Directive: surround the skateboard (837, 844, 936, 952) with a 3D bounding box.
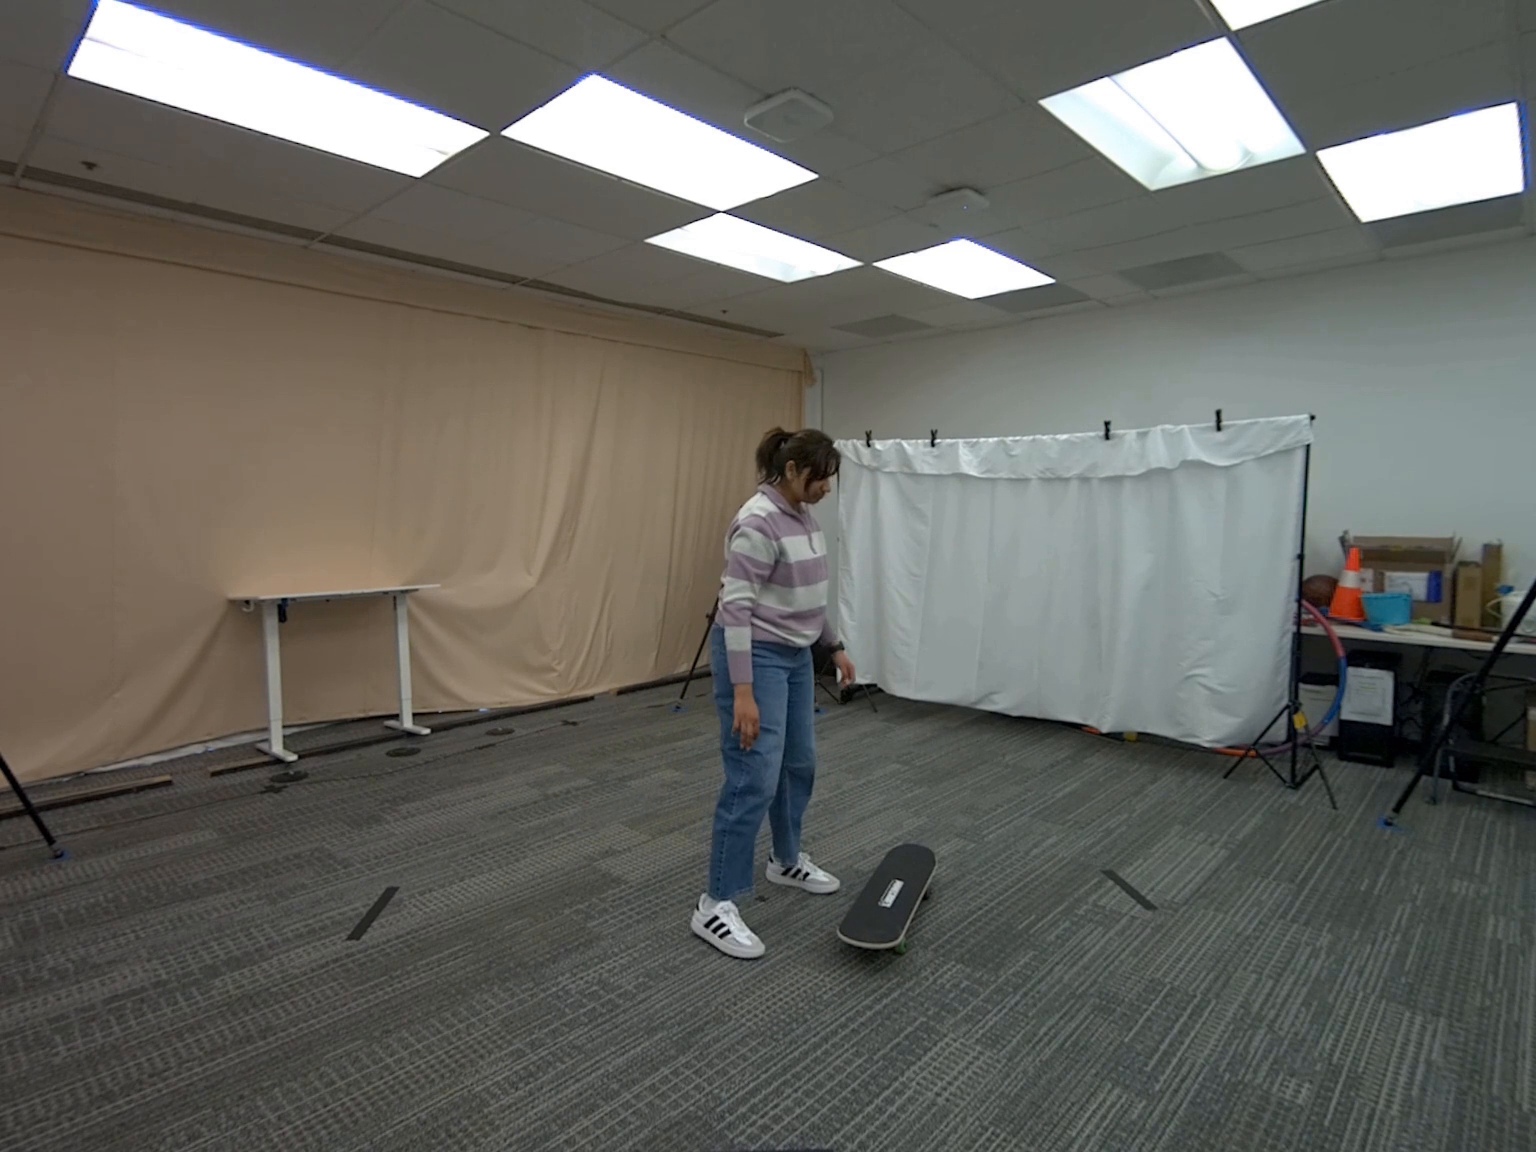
[{"bbox_3d":[0.427,1.101,2.826,0.198,0.110,0.768,1,5,22],"label":"skateboard"}]
